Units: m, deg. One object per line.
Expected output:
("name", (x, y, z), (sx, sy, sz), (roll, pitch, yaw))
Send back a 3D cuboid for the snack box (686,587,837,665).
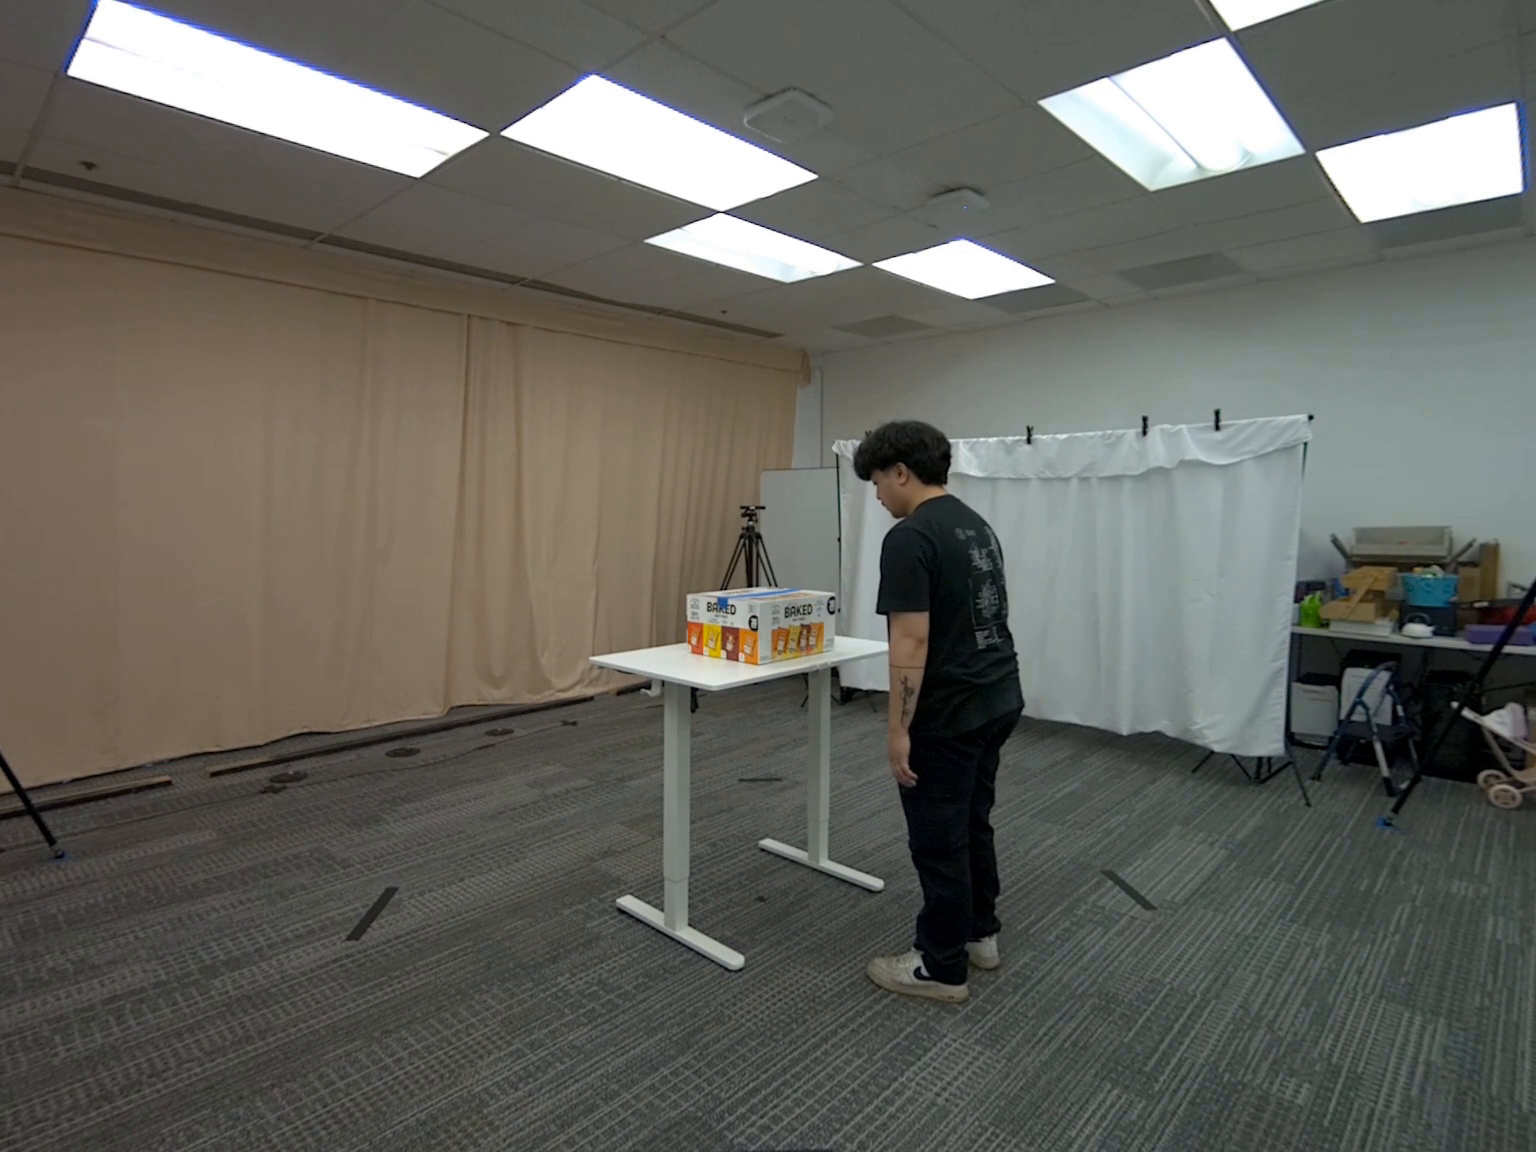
("snack box", (-0.019, 0.163, 2.936), (0.352, 0.205, 0.393), (5, 6, 43))
